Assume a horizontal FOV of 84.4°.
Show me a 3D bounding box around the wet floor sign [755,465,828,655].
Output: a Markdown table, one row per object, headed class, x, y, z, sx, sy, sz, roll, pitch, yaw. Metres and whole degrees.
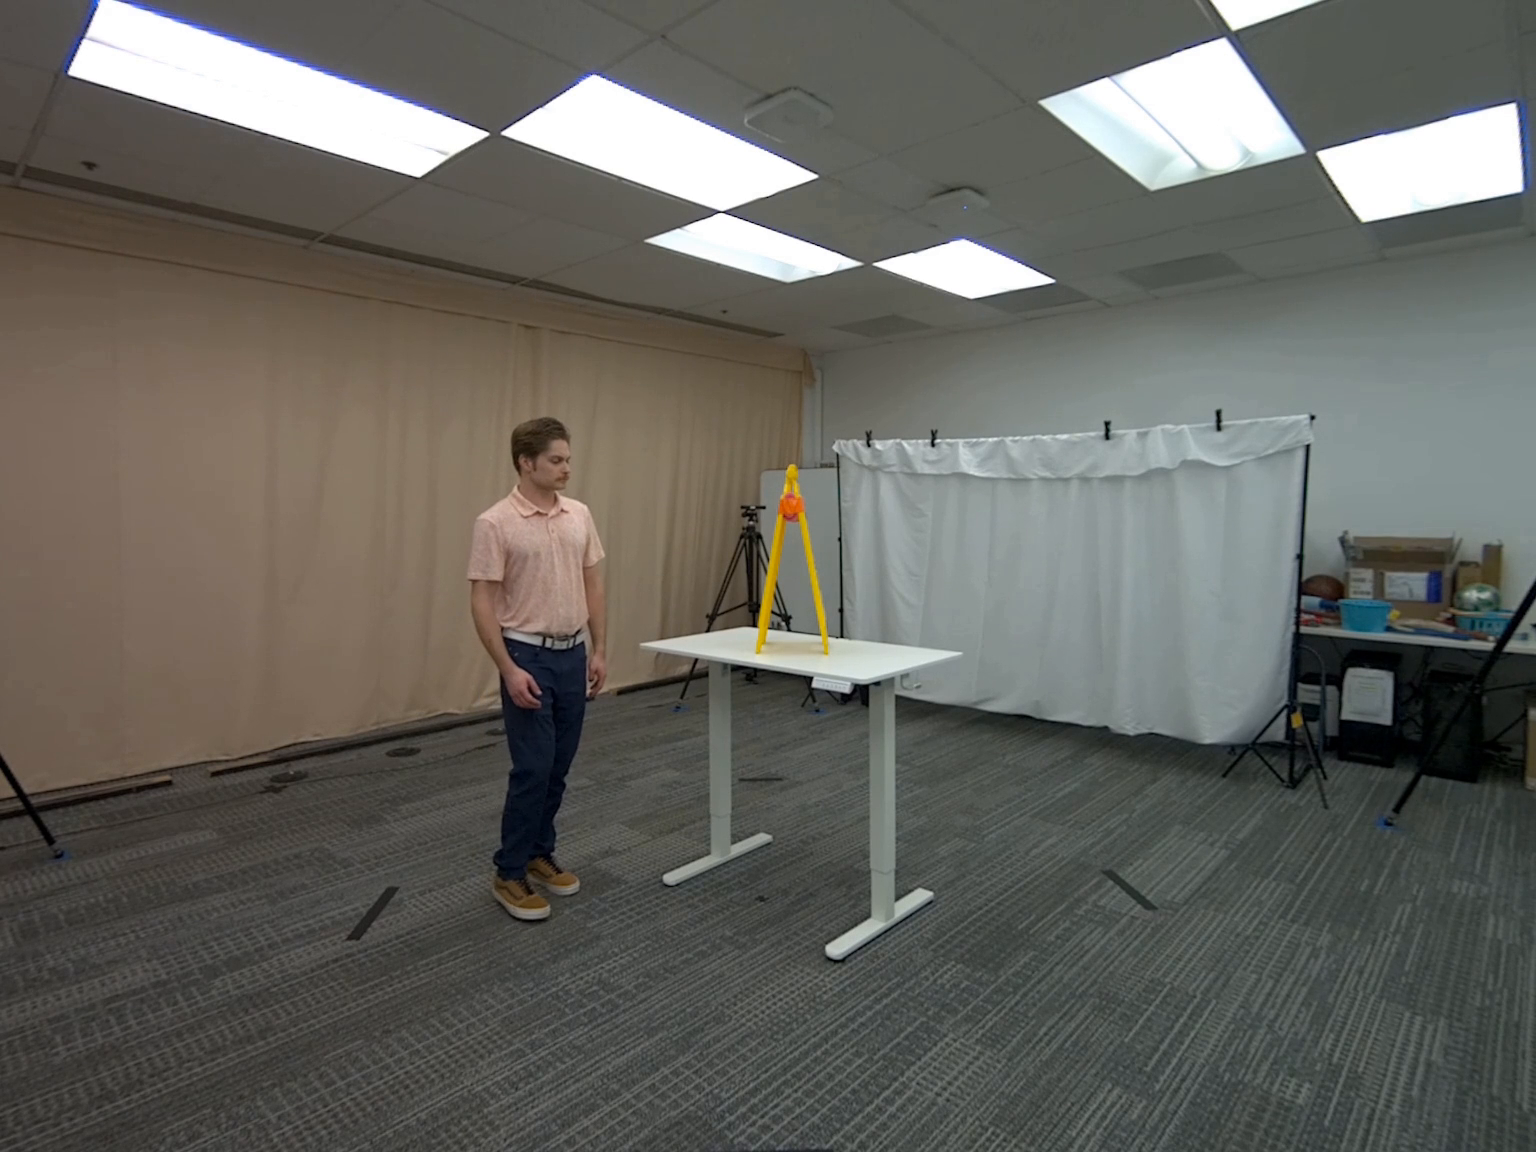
| class | x | y | z | sx | sy | sz | roll | pitch | yaw |
| --- | --- | --- | --- | --- | --- | --- | --- | --- | --- |
| wet floor sign | 0.091 | -0.065 | 3.000 | 0.291 | 0.645 | 0.281 | -1 | 1 | 4 |
